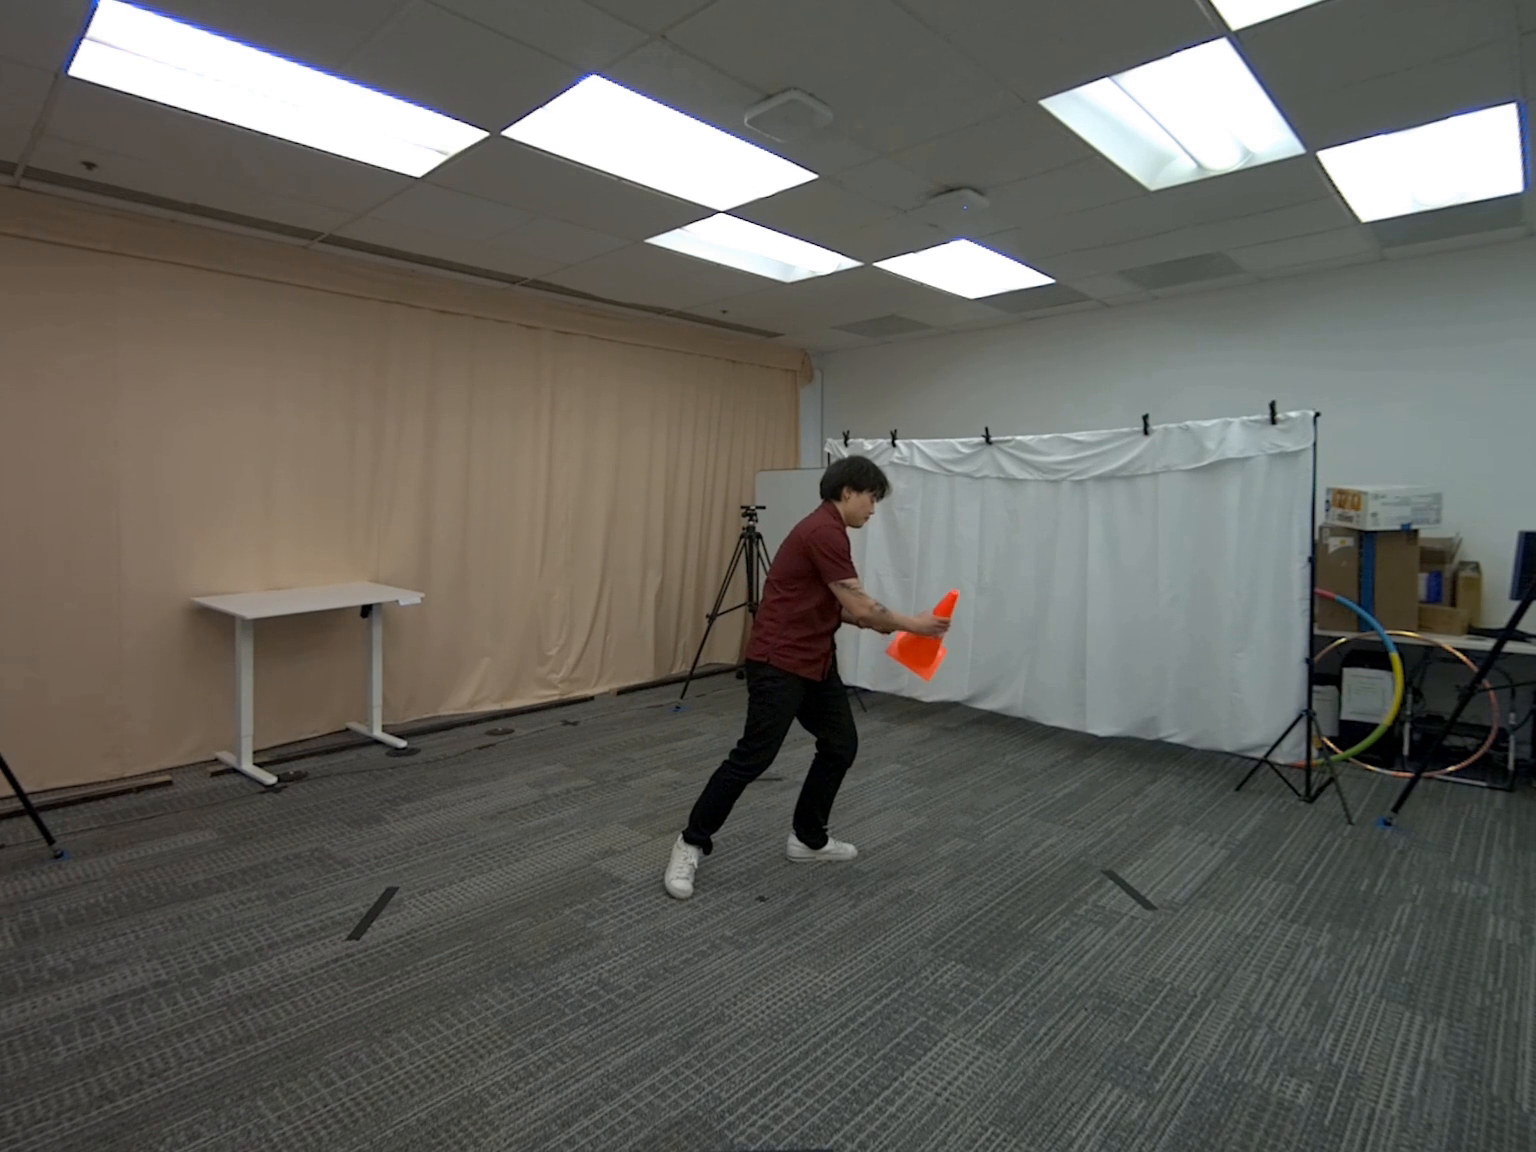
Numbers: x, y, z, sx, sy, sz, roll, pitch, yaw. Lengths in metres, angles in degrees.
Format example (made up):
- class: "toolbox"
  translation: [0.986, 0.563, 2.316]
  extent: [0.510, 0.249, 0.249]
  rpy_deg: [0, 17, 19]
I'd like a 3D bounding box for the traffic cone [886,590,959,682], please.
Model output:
- class: "traffic cone"
  translation: [0.635, 0.188, 3.173]
  extent: [0.208, 0.381, 0.201]
  rpy_deg: [34, 50, 12]
